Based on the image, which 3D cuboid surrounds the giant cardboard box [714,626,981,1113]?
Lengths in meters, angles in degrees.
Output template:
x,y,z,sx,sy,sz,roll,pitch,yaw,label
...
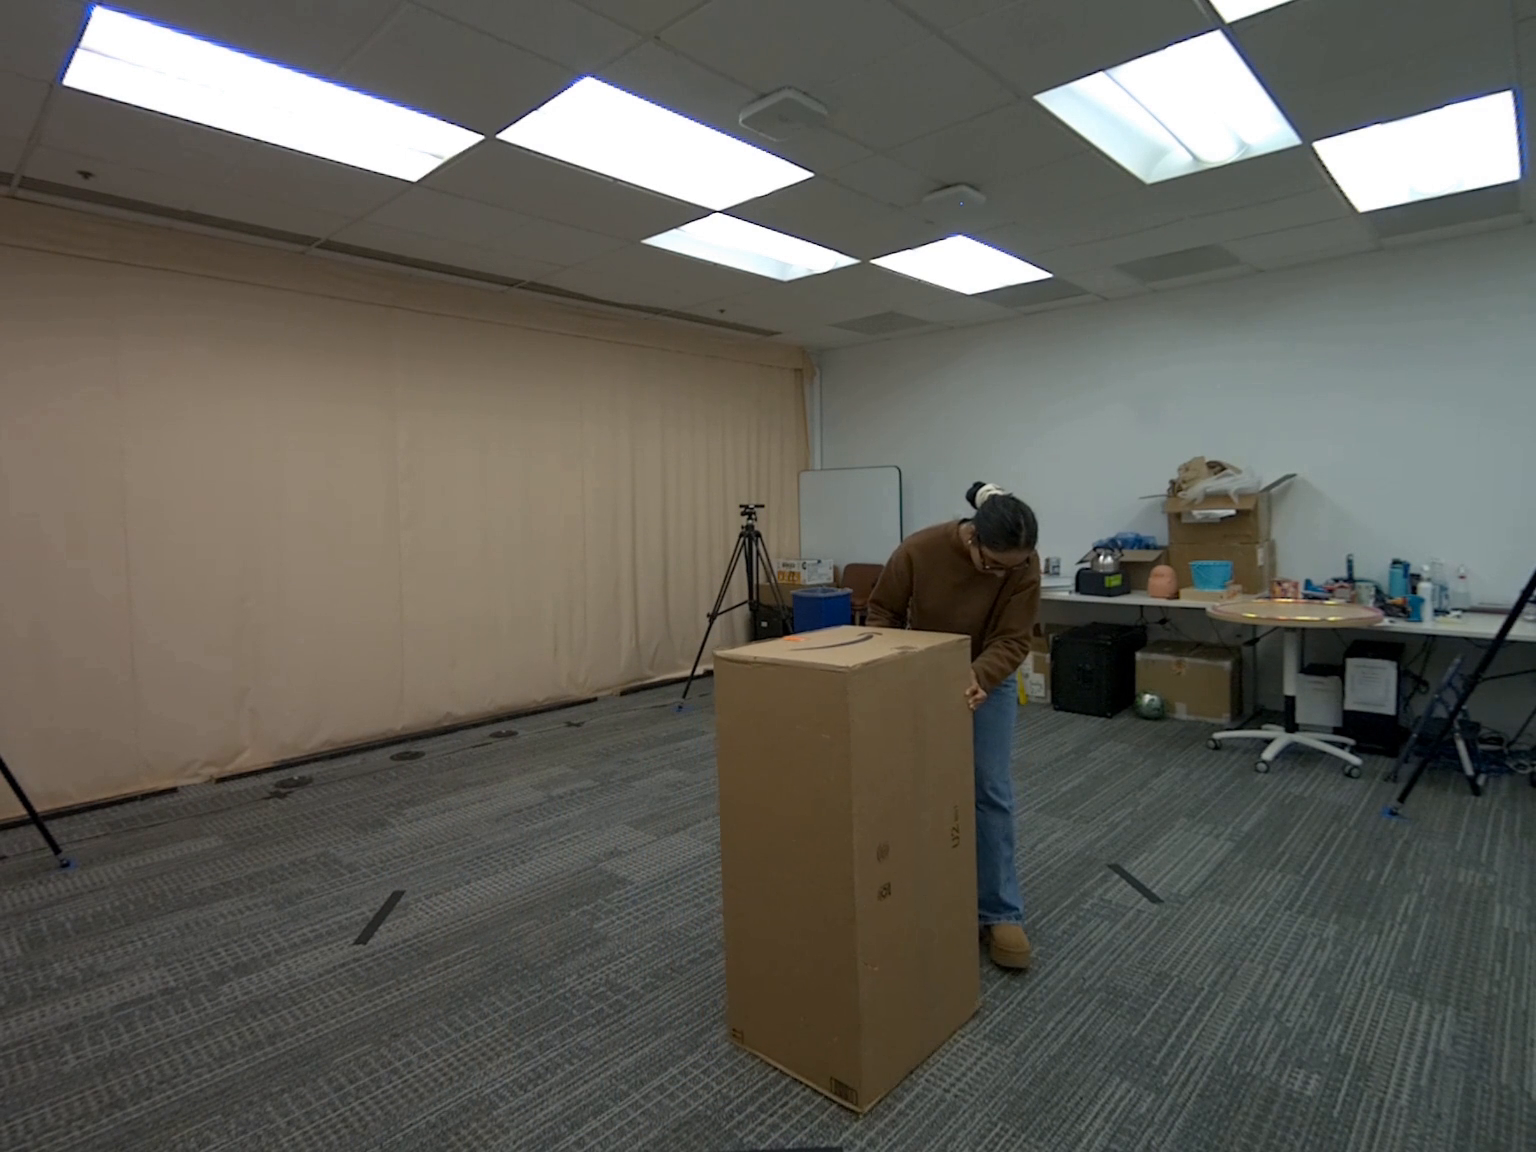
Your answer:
x,y,z,sx,sy,sz,roll,pitch,yaw,label
0.221,0.691,2.227,0.440,1.024,0.560,0,3,43,giant cardboard box
